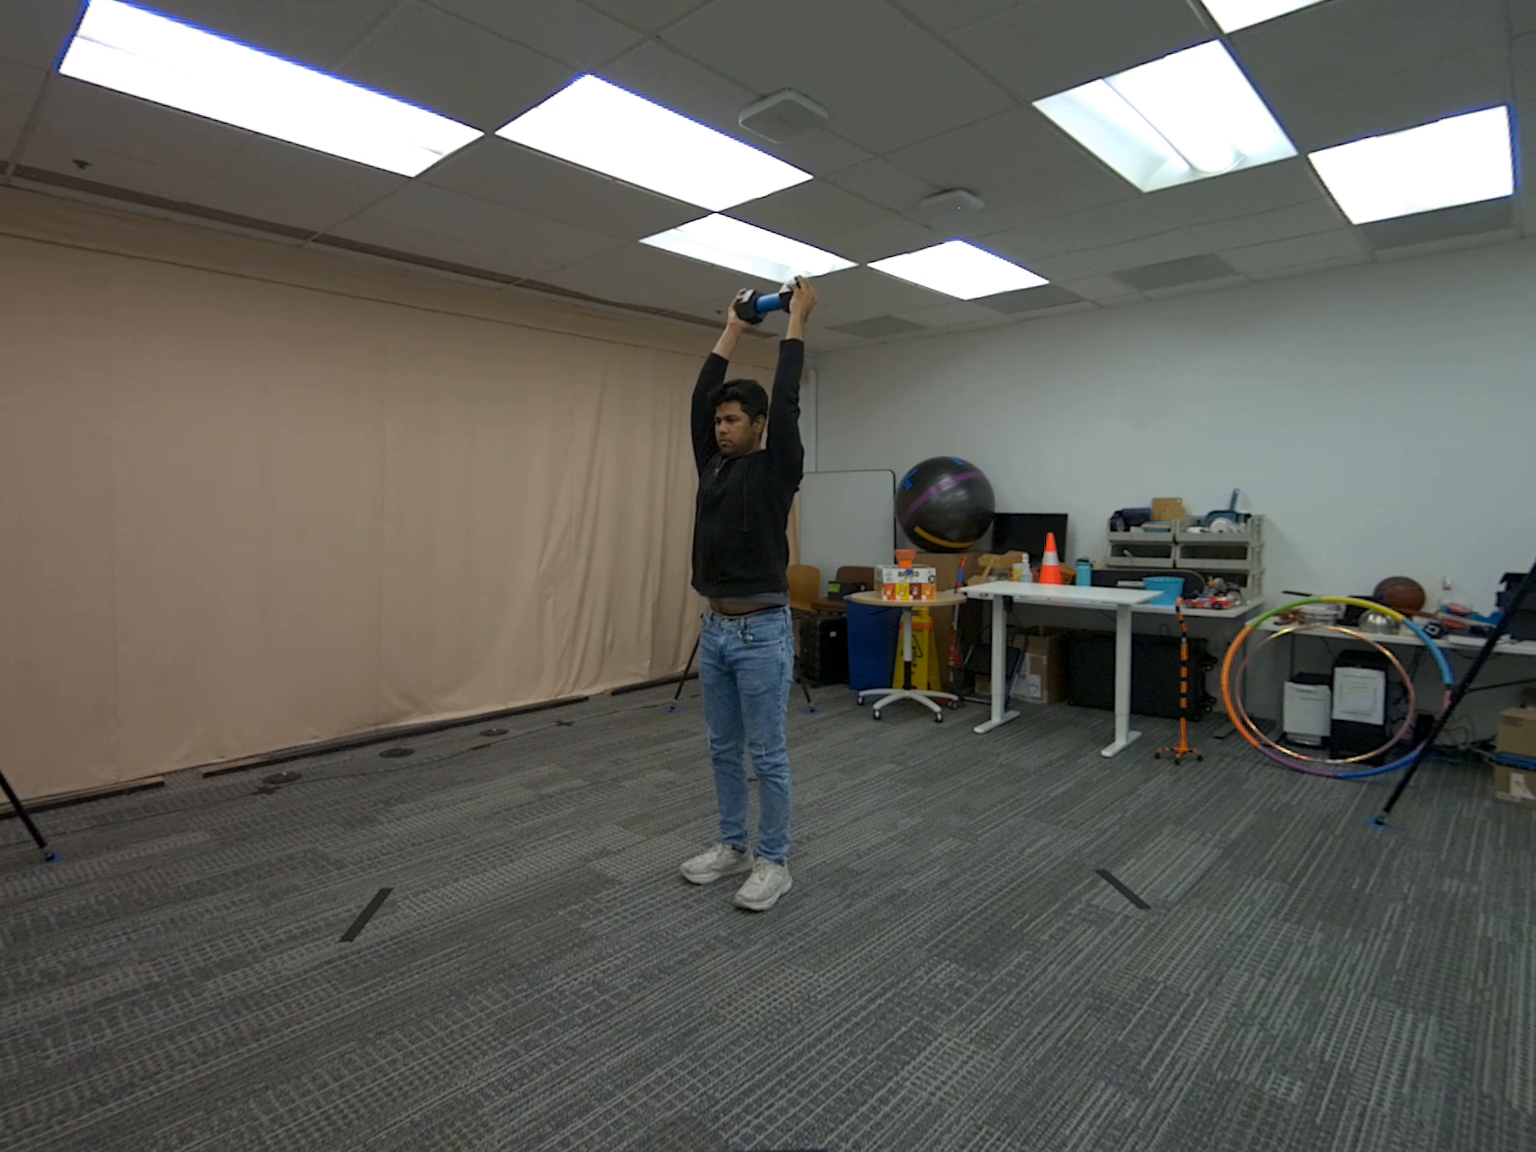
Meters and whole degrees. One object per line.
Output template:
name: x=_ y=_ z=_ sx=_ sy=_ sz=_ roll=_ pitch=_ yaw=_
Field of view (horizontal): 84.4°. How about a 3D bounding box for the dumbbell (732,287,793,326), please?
dumbbell: x=0.019 y=-0.994 z=3.055 sx=0.119 sy=0.109 sz=0.303 roll=12 pitch=-5 yaw=-44
